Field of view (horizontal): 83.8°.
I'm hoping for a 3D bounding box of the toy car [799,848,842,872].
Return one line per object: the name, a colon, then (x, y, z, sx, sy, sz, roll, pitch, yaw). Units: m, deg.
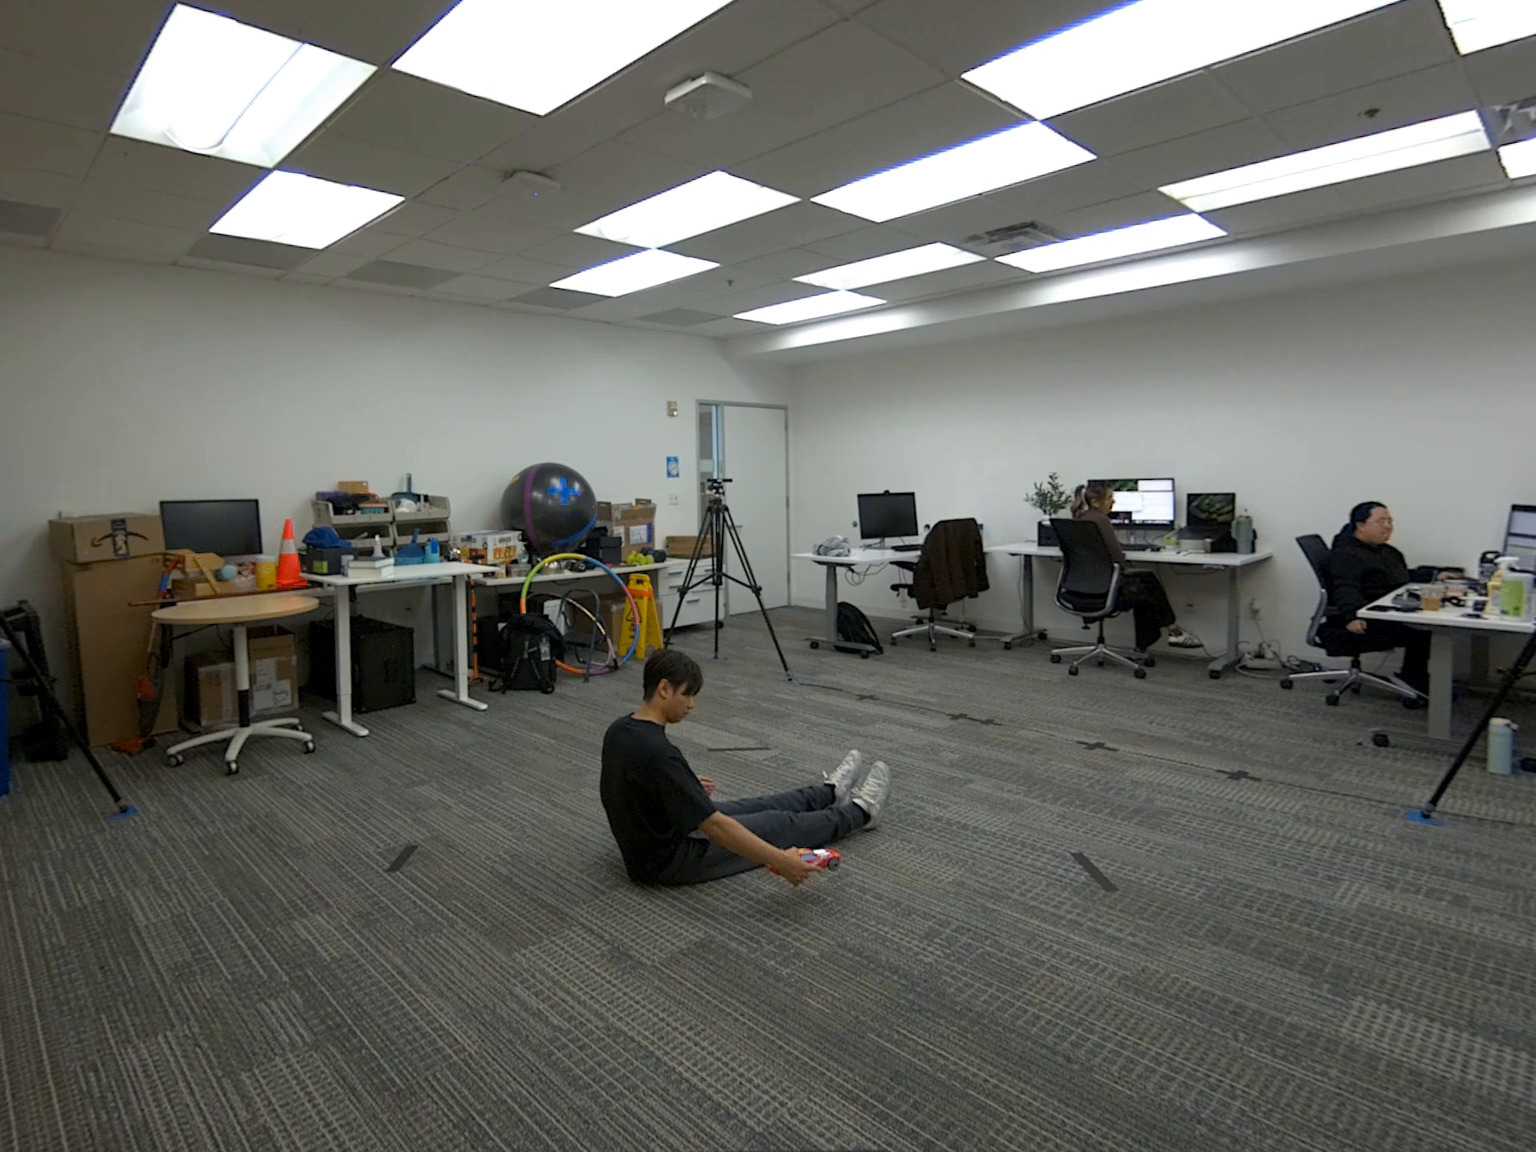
toy car: (0.107, 0.947, 2.828, 0.251, 0.083, 0.131, 4, -5, -14)
